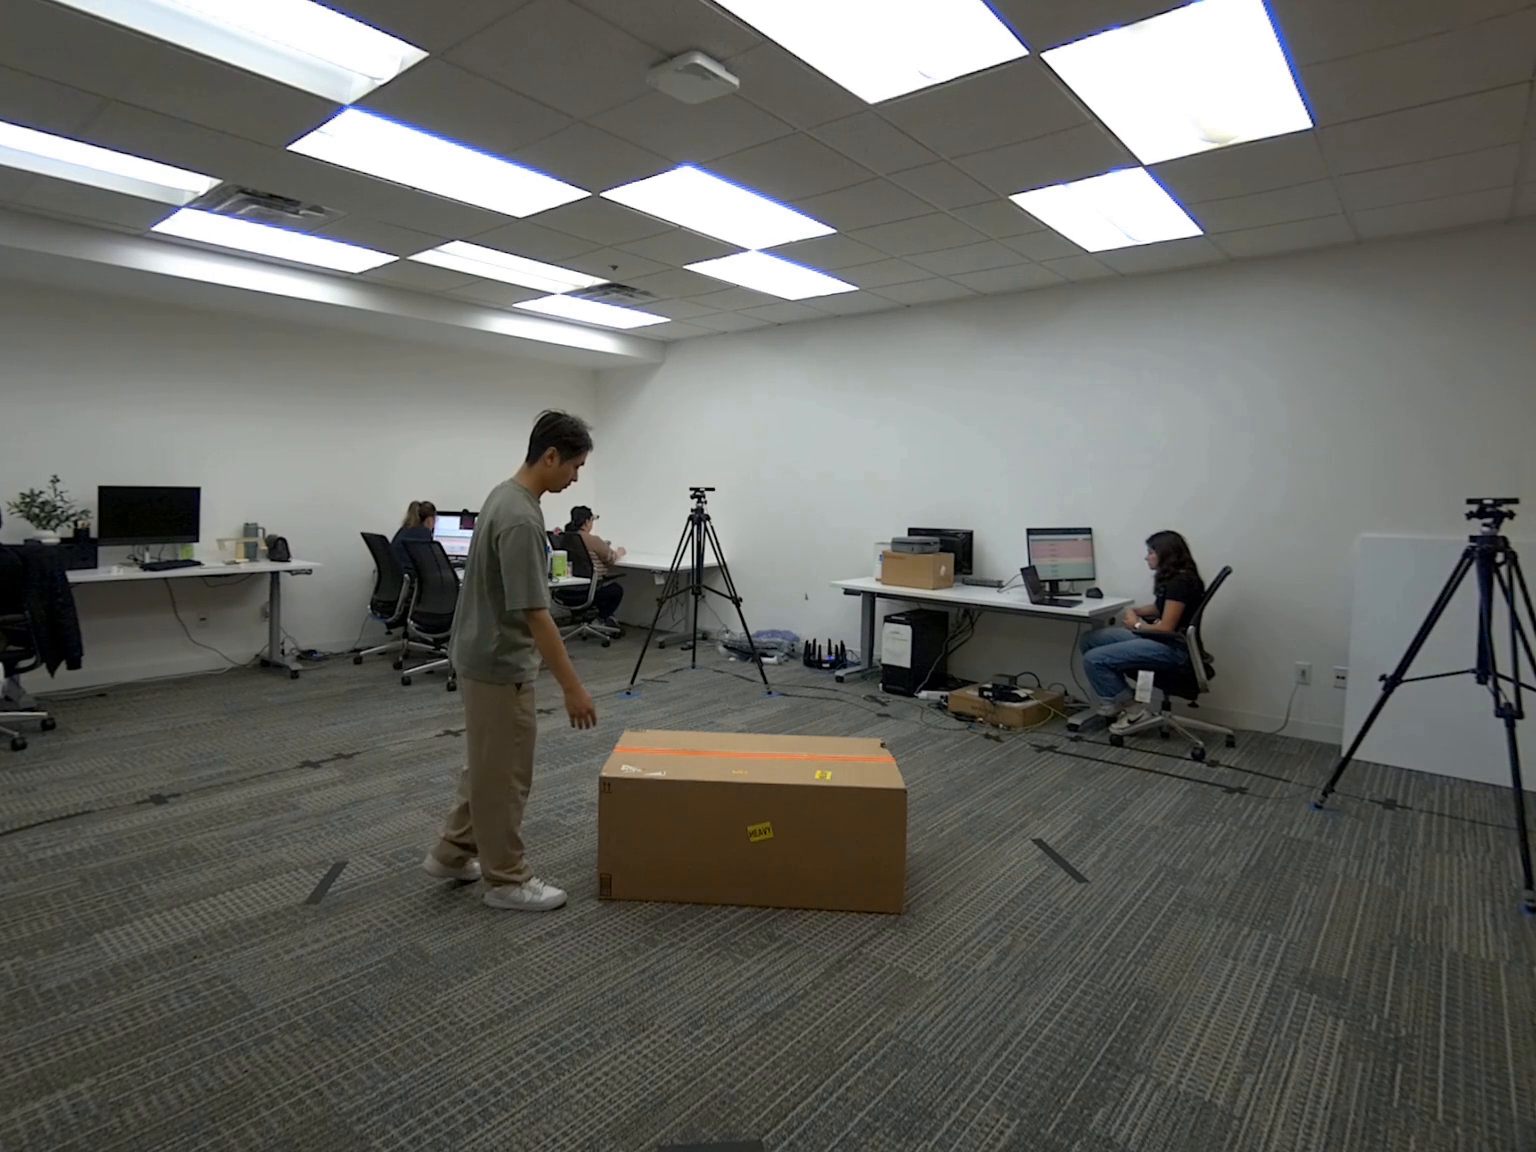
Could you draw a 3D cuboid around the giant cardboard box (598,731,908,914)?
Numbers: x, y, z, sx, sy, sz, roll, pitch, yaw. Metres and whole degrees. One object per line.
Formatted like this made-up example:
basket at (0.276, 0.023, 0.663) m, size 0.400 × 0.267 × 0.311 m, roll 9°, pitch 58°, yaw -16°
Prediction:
giant cardboard box at (-0.068, 0.856, 3.097) m, size 1.029 × 0.425 × 0.578 m, roll 1°, pitch 4°, yaw 2°
